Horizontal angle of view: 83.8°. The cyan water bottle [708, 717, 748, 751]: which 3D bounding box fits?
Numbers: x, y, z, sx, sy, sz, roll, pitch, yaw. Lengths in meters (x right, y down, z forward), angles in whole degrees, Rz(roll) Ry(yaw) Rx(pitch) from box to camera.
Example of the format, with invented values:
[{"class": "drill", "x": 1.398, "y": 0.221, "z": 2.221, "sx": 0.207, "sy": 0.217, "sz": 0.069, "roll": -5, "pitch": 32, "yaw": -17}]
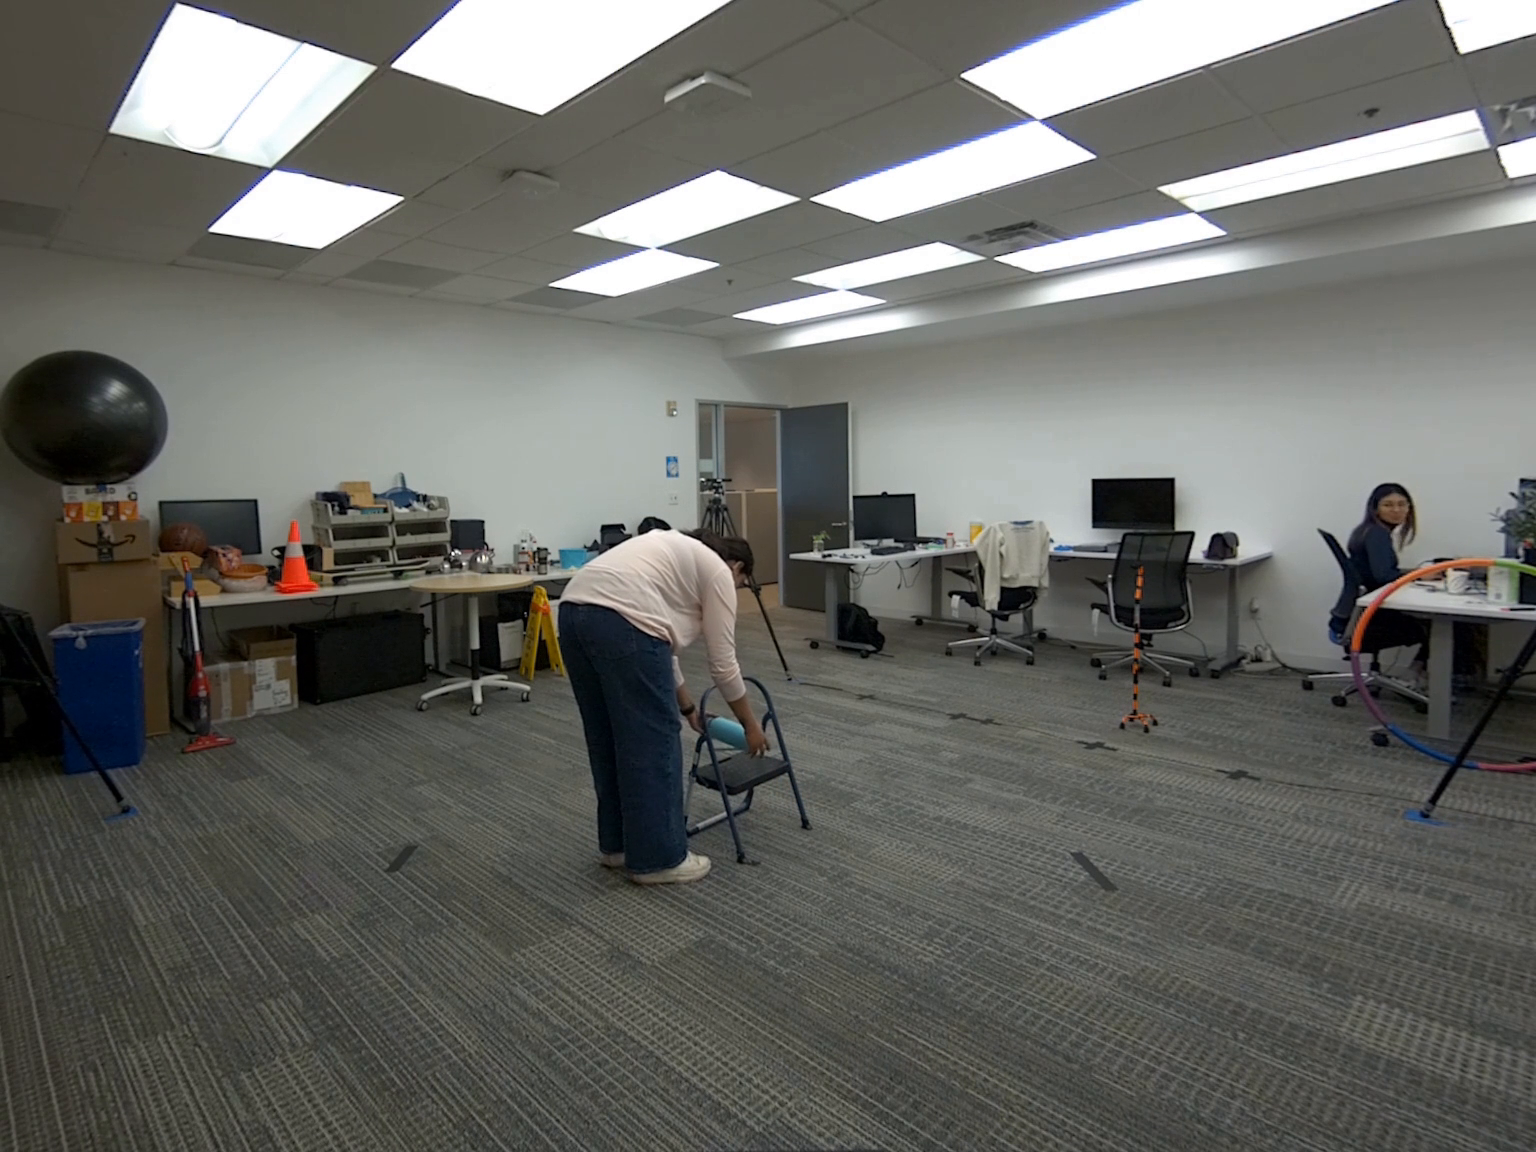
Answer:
[{"class": "cyan water bottle", "x": -0.143, "y": 0.613, "z": 3.340, "sx": 0.293, "sy": 0.091, "sz": 0.090, "roll": 13, "pitch": 12, "yaw": 38}]
